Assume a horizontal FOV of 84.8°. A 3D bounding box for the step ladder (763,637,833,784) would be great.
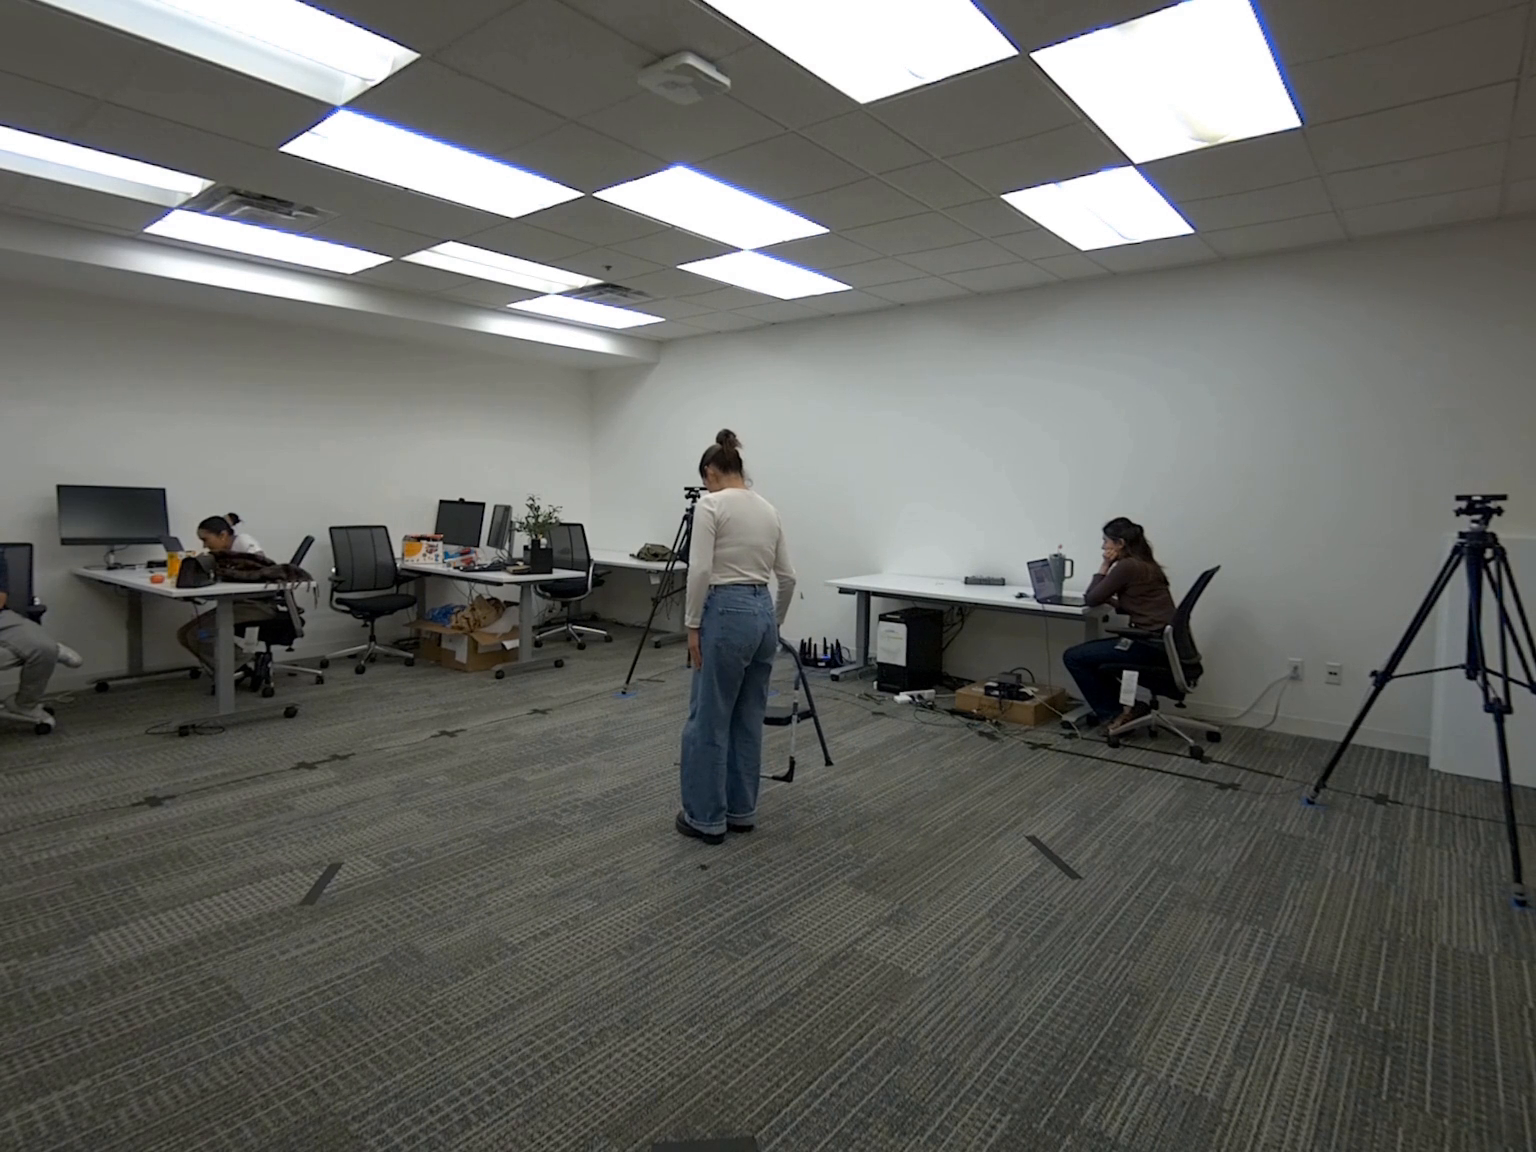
[{"bbox_3d":[-0.002,0.554,3.764,0.443,0.608,0.339,-6,-2,37],"label":"step ladder"}]
